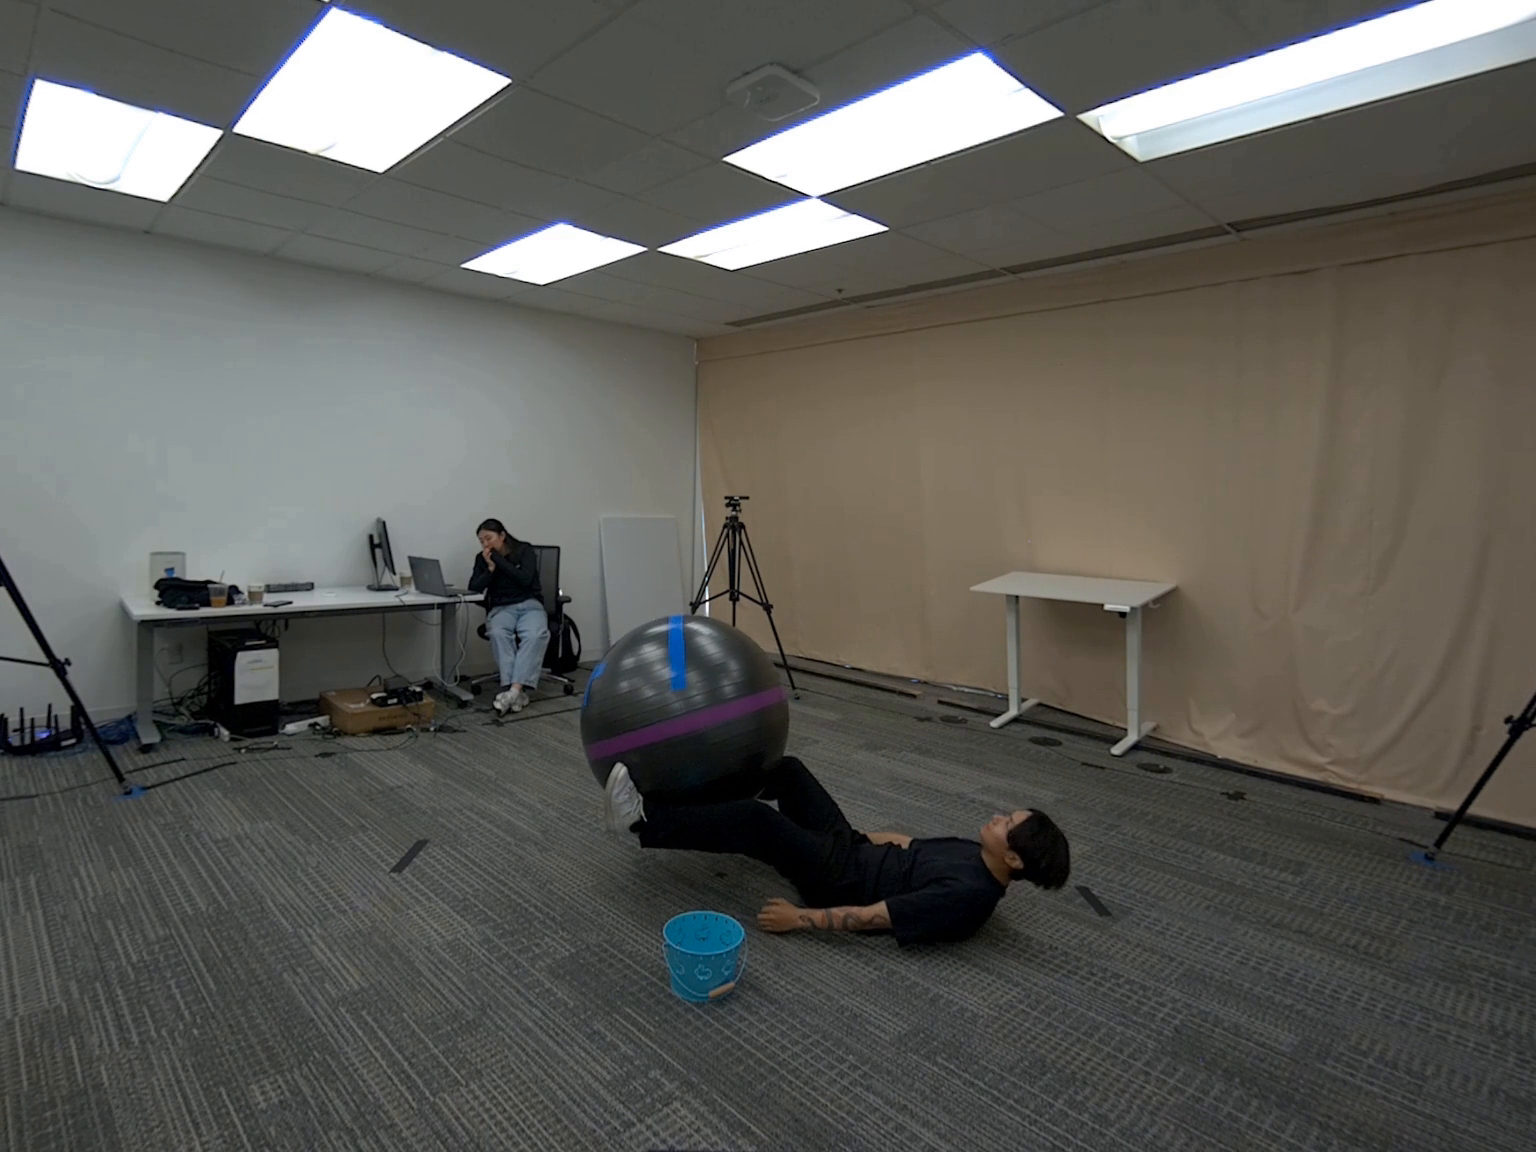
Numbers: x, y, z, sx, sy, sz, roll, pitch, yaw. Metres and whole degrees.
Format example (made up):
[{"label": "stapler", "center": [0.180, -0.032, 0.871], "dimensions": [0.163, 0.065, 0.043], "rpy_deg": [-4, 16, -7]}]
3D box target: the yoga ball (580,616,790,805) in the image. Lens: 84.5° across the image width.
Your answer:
[{"label": "yoga ball", "center": [-0.310, 0.531, 3.093], "dimensions": [0.757, 0.756, 0.761], "rpy_deg": [1, 4, -1]}]
